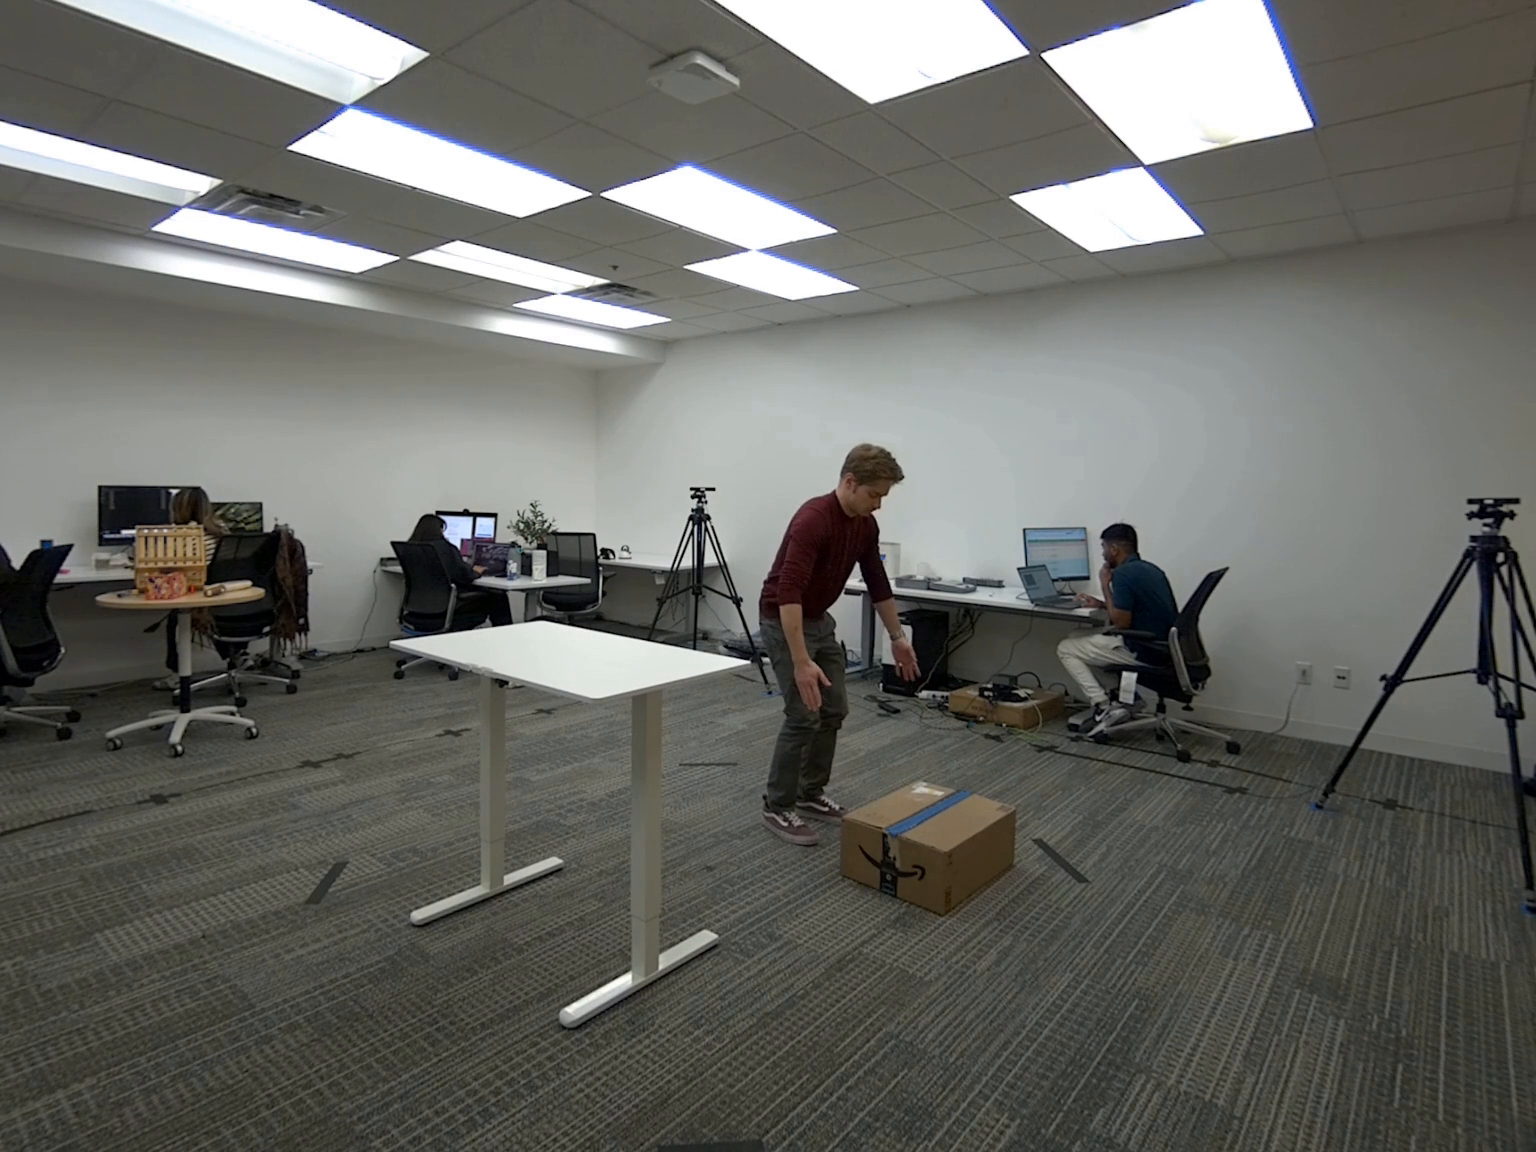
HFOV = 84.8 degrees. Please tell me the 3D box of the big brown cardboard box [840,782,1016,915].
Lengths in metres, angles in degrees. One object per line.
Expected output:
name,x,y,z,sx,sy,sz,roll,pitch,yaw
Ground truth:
big brown cardboard box,0.595,0.972,3.140,0.432,0.232,0.572,6,7,40
